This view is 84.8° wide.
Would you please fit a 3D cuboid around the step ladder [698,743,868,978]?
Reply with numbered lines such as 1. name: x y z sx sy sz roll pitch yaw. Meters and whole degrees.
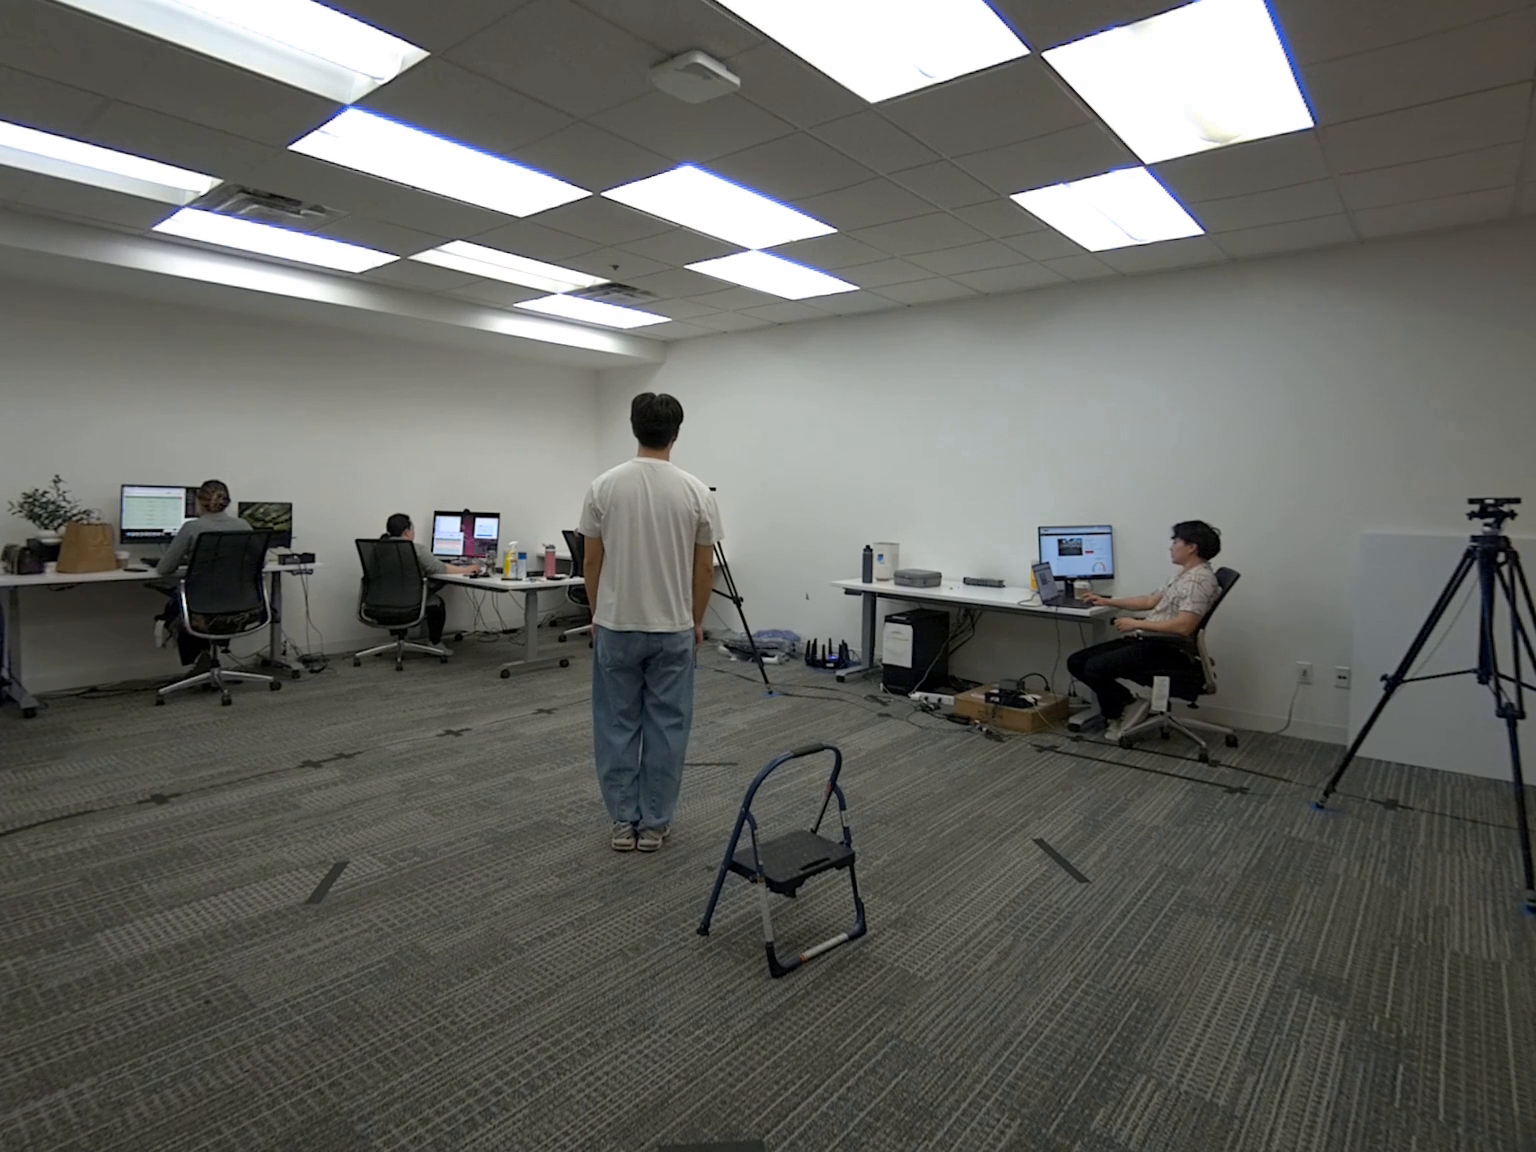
1. step ladder: 0.047 0.812 2.653 0.417 0.604 0.361 -2 5 -44
